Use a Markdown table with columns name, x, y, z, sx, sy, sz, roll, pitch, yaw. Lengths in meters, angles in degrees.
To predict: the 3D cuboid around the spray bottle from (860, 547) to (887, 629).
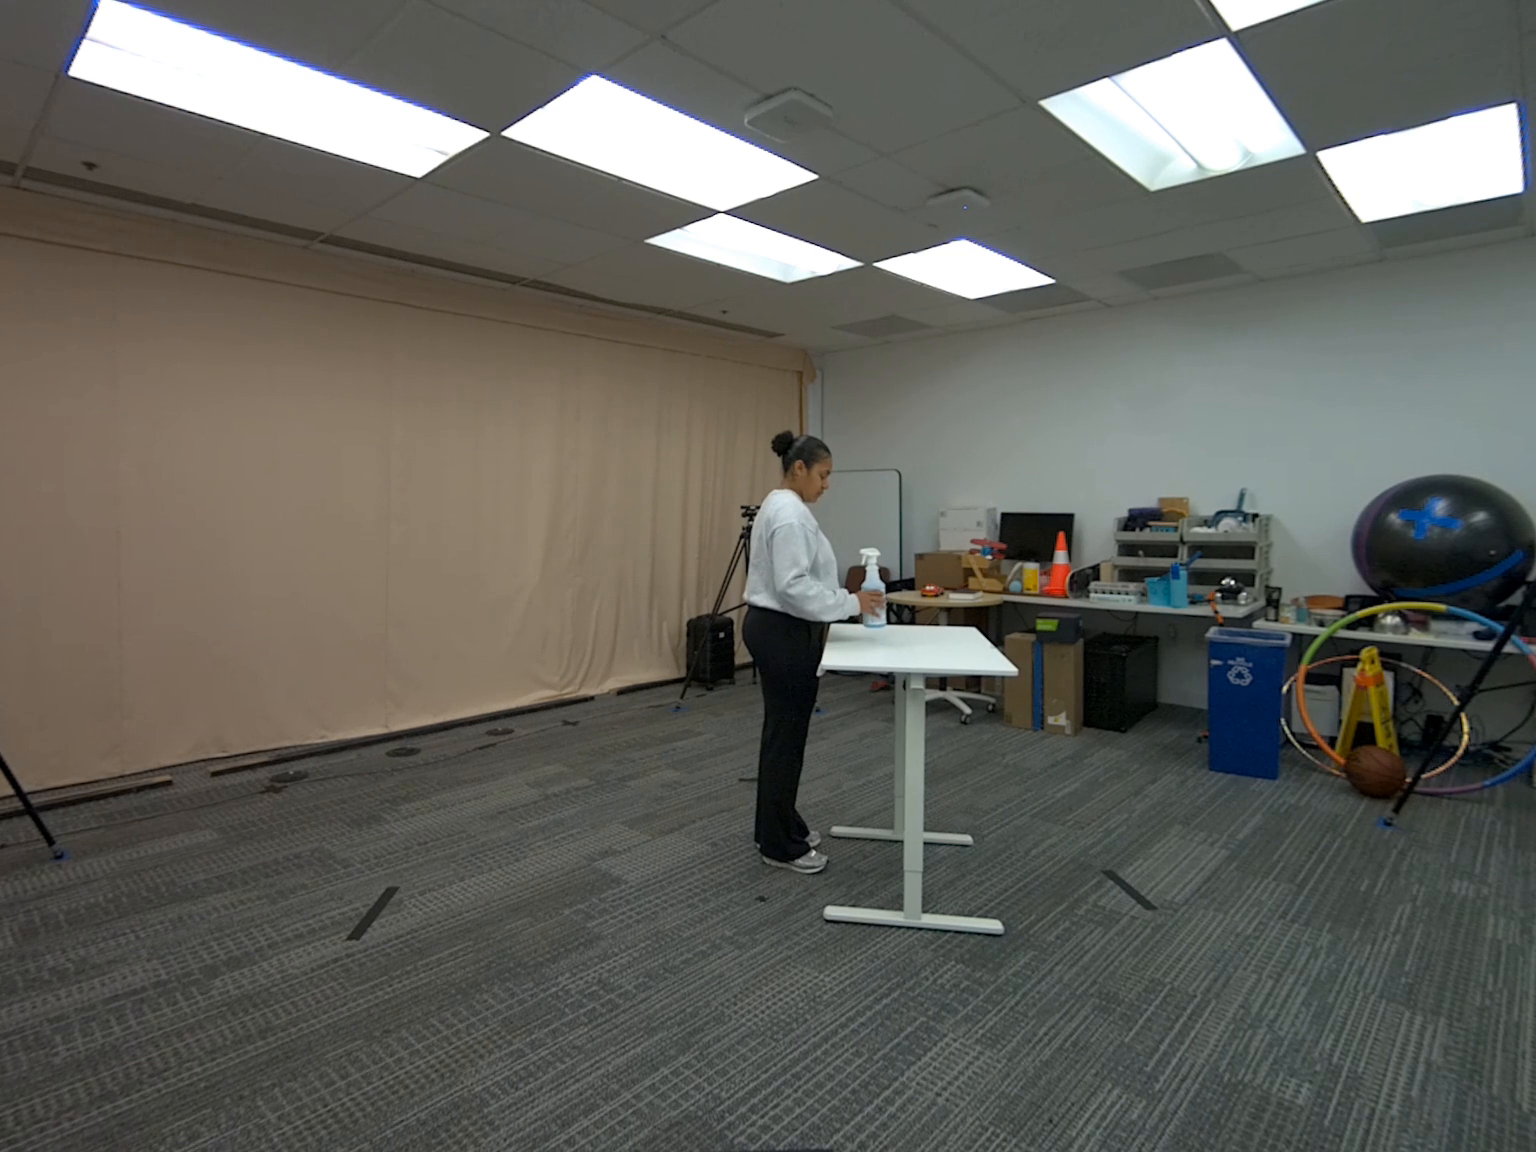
| name | x | y | z | sx | sy | sz | roll | pitch | yaw |
| --- | --- | --- | --- | --- | --- | --- | --- | --- | --- |
| spray bottle | 0.396 | 0.051 | 3.136 | 0.089 | 0.295 | 0.088 | -6 | 8 | -5 |
